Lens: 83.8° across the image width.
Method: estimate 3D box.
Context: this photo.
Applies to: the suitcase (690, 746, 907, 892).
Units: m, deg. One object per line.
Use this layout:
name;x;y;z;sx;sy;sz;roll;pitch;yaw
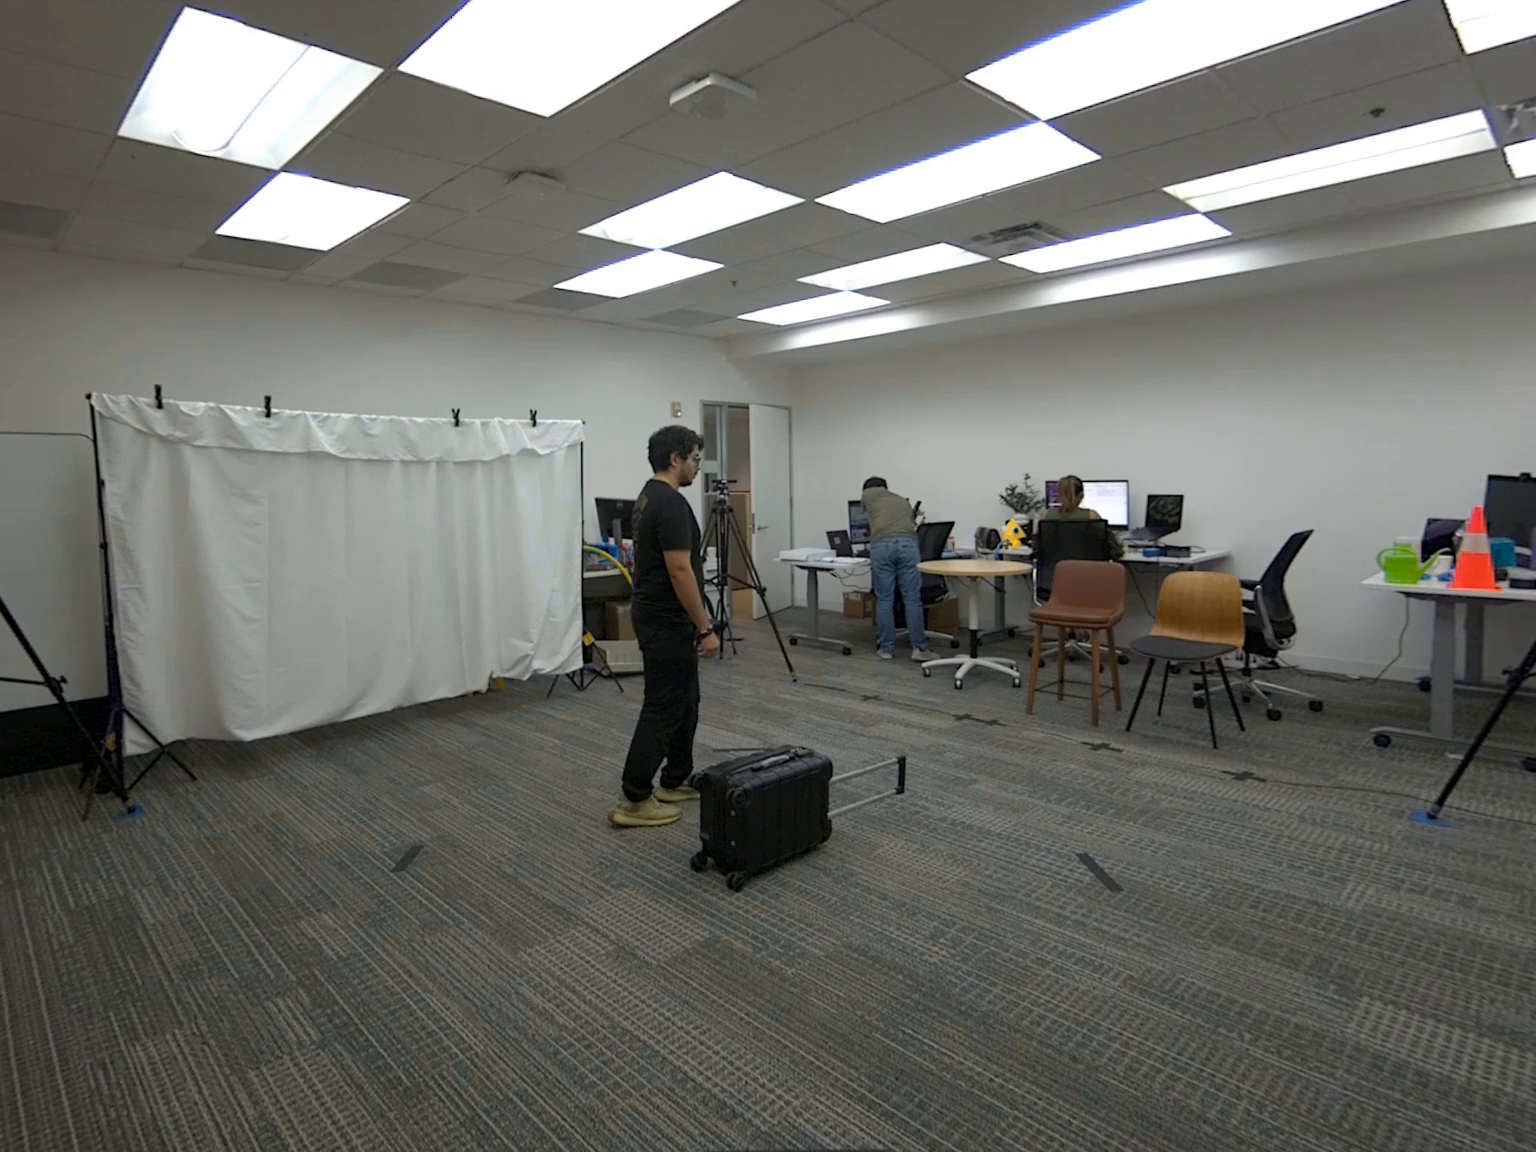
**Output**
suitcase;0.137;0.834;3.294;0.265;0.382;0.953;4;7;45
